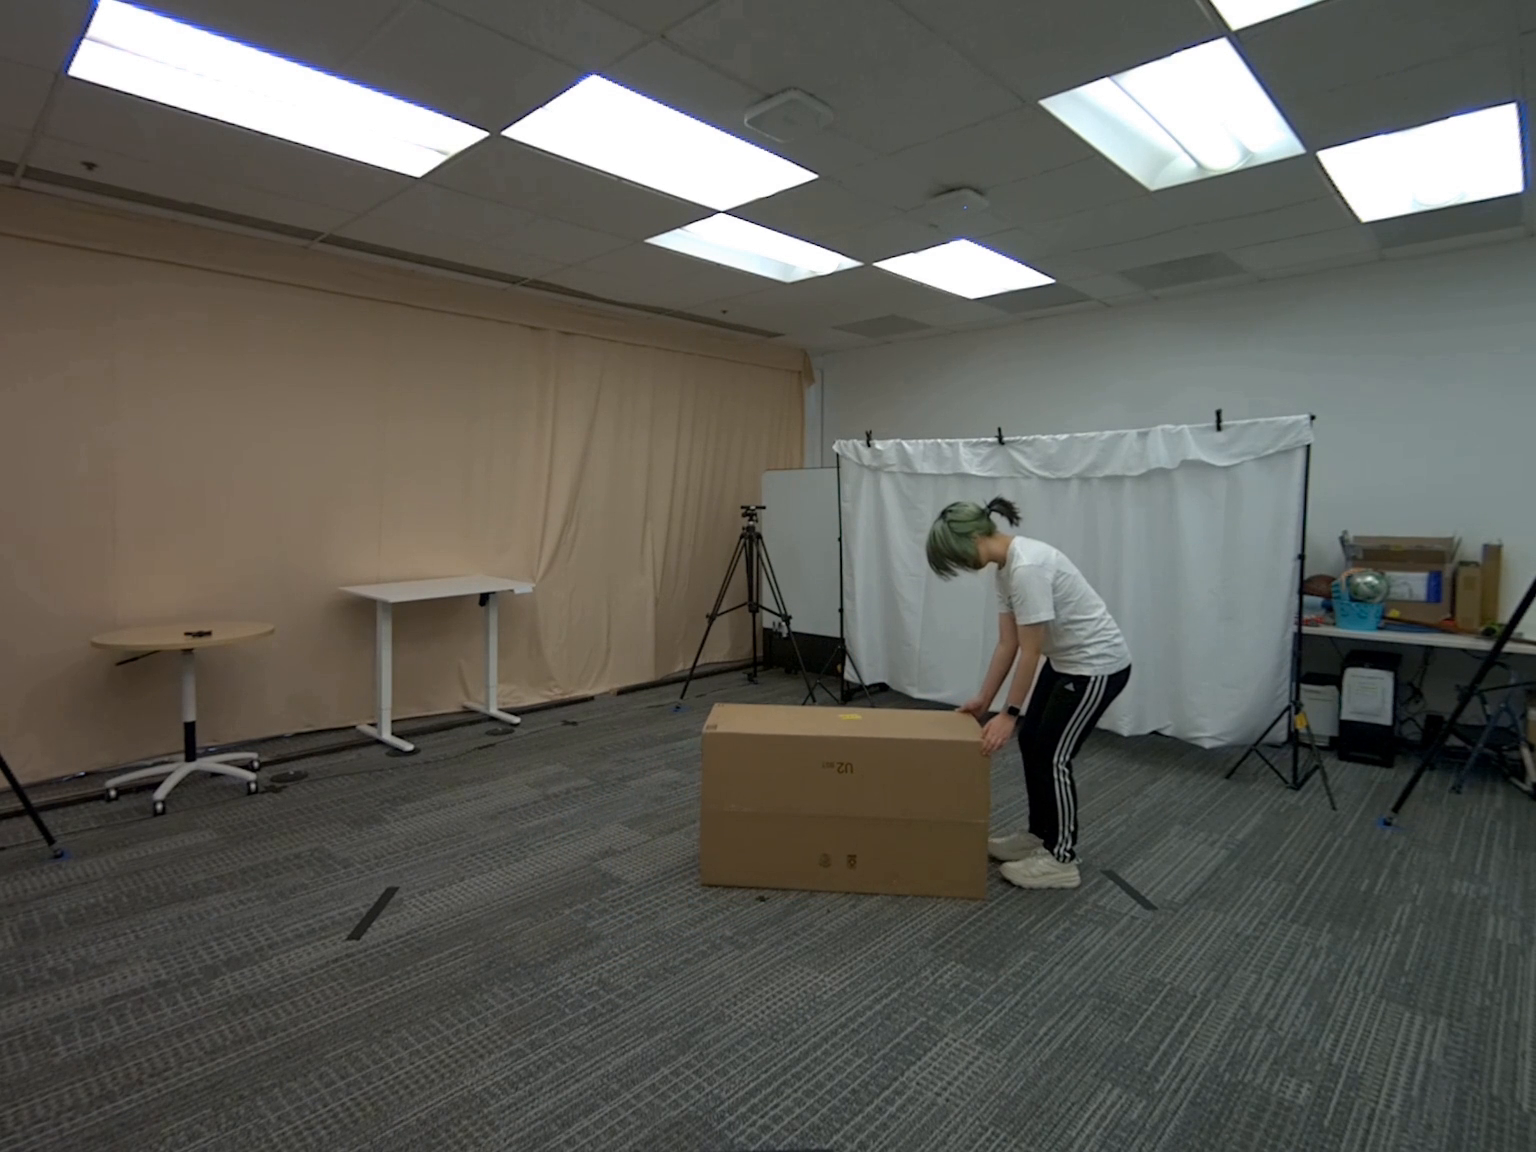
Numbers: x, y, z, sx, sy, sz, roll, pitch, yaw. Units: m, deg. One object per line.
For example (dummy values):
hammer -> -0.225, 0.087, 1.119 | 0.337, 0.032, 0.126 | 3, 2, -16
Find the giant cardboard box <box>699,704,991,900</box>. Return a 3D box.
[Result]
giant cardboard box -> 0.277, 0.835, 3.219 | 1.034, 0.583, 0.445 | 1, 3, 5
